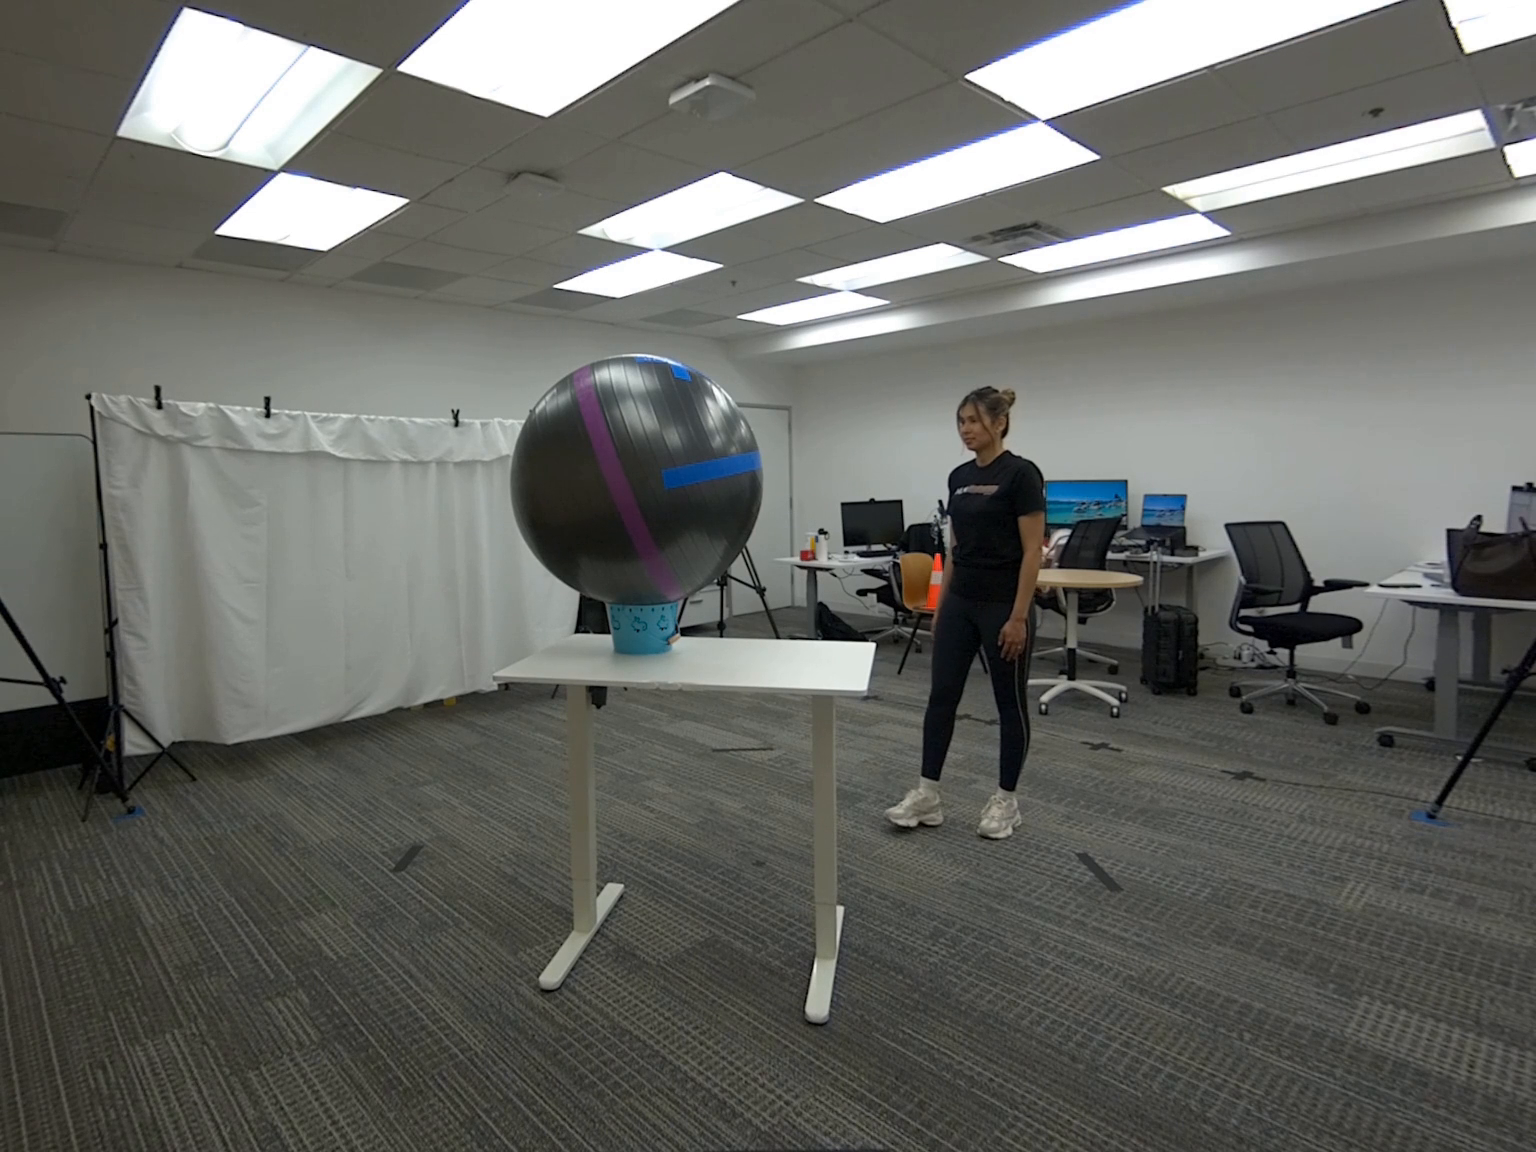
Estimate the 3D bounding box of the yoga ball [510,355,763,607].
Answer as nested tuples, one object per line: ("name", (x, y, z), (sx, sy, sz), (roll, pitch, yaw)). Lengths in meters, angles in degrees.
("yoga ball", (-0.393, -0.281, 2.599), (0.757, 0.755, 0.762), (-1, 5, -2))
